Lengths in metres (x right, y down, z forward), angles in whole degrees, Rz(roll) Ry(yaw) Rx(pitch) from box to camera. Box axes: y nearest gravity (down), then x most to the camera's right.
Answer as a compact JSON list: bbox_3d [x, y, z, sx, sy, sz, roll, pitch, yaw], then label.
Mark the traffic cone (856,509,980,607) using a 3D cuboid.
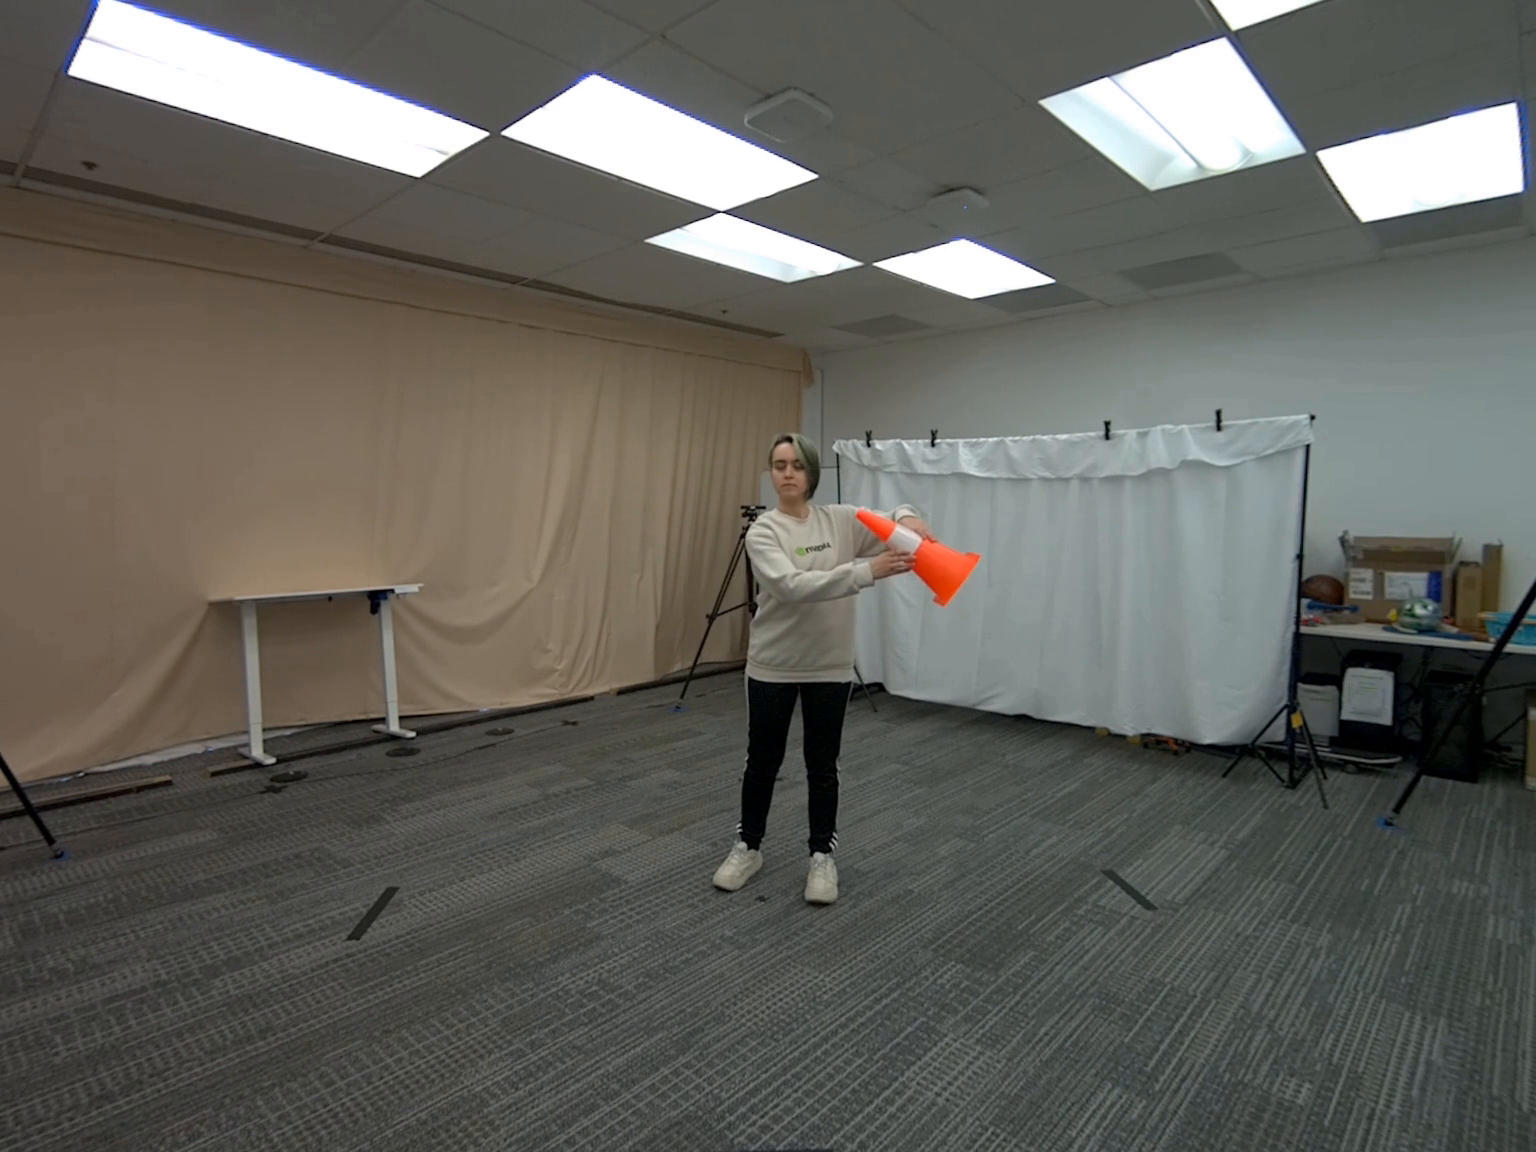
[{"bbox_3d":[0.441,-0.076,2.677,0.385,0.205,0.202,35,10,2],"label":"traffic cone"}]
